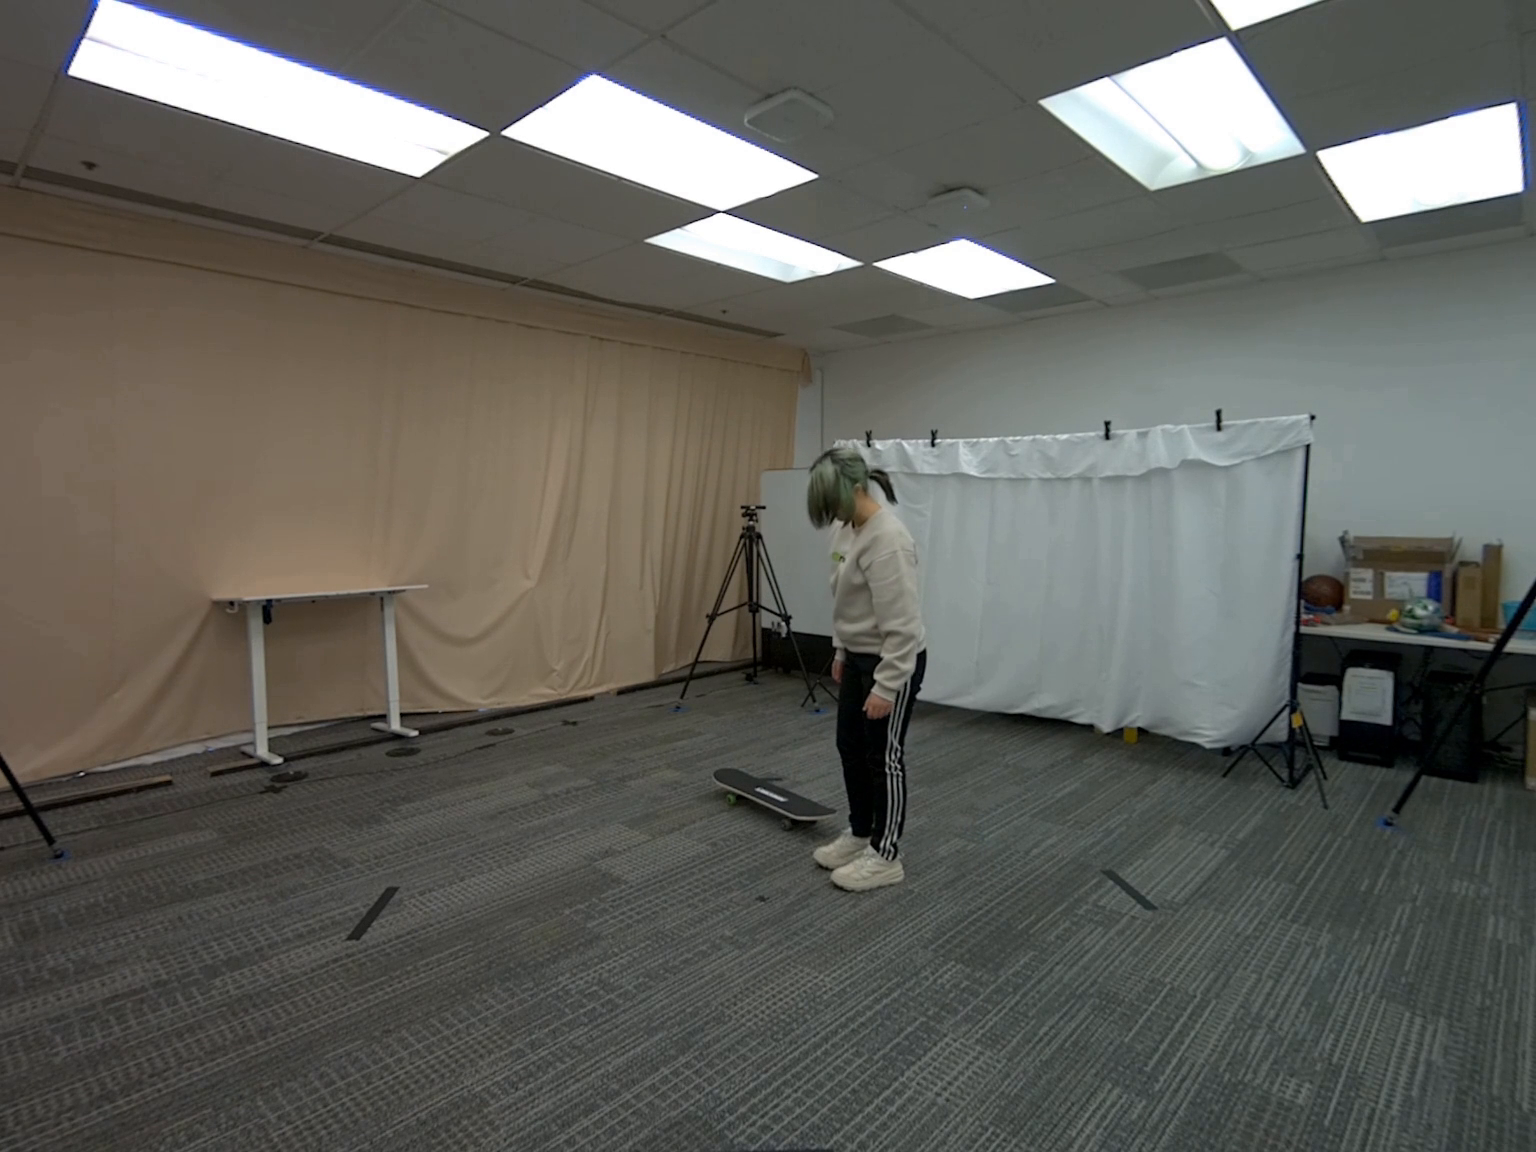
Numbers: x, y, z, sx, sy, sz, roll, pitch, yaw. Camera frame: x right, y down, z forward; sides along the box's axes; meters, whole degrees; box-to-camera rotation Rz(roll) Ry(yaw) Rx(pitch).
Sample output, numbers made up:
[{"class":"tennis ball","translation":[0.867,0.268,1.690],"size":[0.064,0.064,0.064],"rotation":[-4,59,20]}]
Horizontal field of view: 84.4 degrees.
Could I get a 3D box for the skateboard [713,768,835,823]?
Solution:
[{"class":"skateboard","translation":[0.017,1.021,3.819],"size":[0.188,0.110,0.811],"rotation":[-3,5,-37]}]
